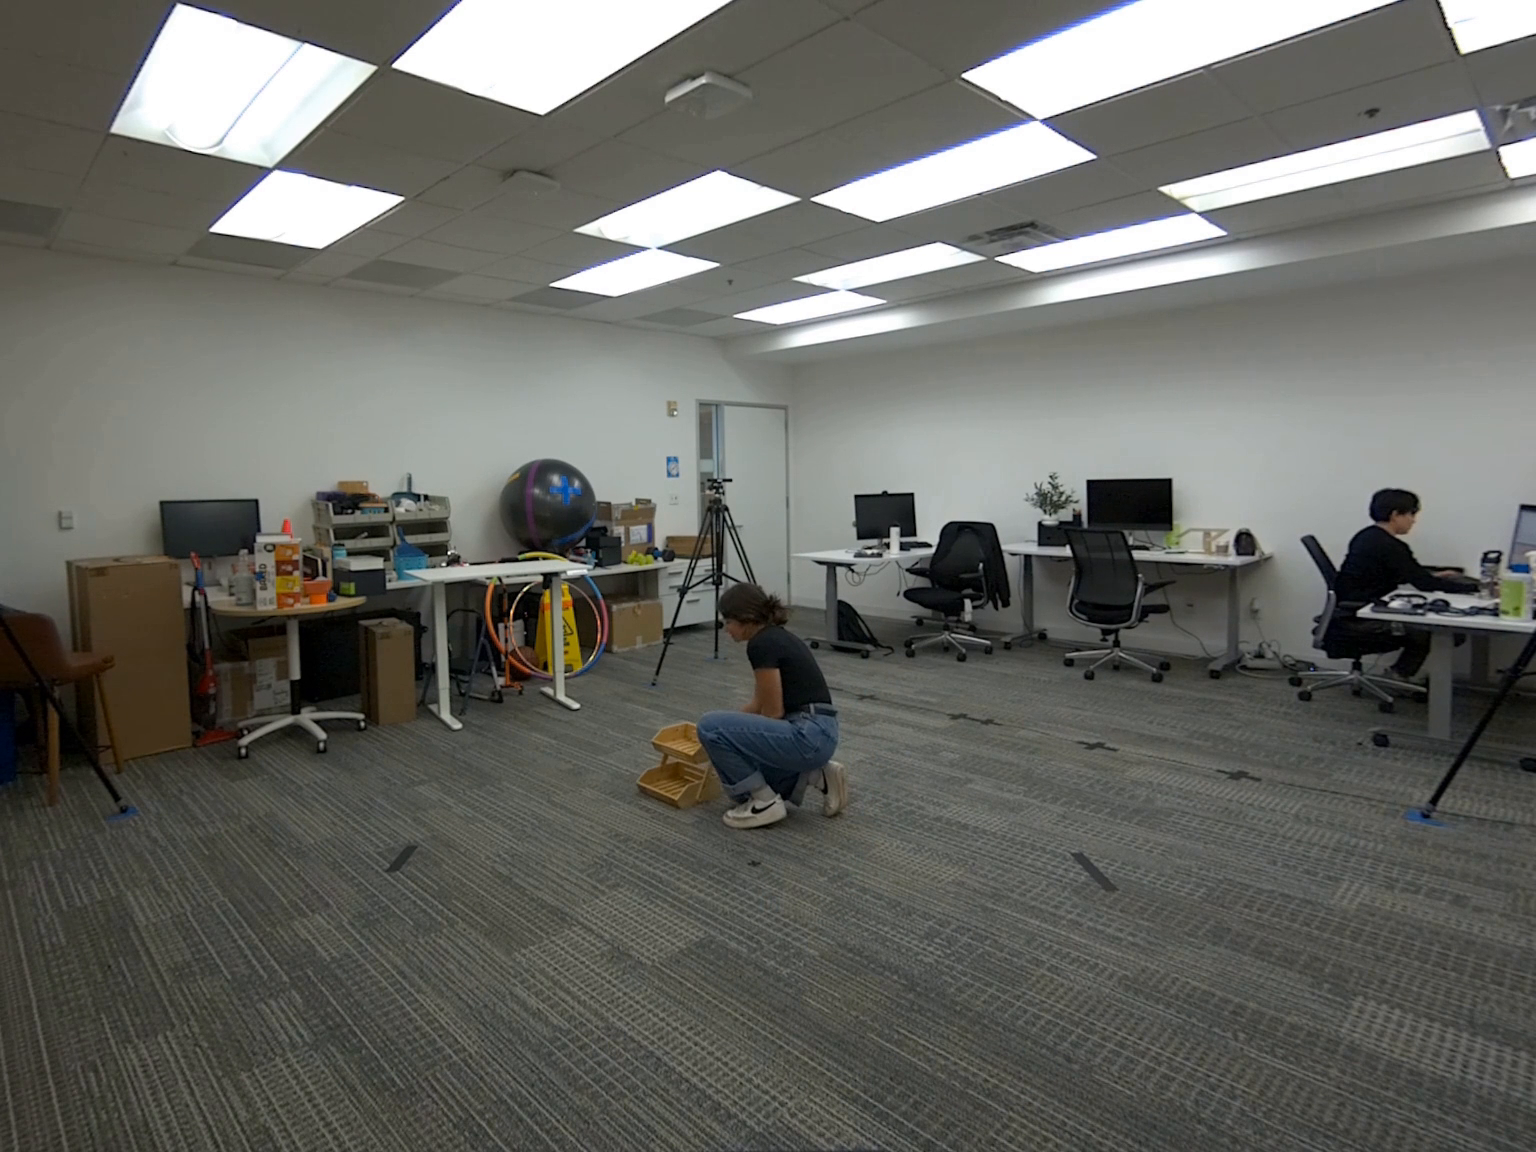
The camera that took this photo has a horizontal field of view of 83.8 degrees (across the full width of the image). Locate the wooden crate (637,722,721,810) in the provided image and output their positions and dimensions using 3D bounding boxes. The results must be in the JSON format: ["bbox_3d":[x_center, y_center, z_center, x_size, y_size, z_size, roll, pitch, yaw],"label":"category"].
[{"bbox_3d":[-0.382,0.835,3.822,0.294,0.272,0.334,-5,6,-43],"label":"wooden crate"}]
